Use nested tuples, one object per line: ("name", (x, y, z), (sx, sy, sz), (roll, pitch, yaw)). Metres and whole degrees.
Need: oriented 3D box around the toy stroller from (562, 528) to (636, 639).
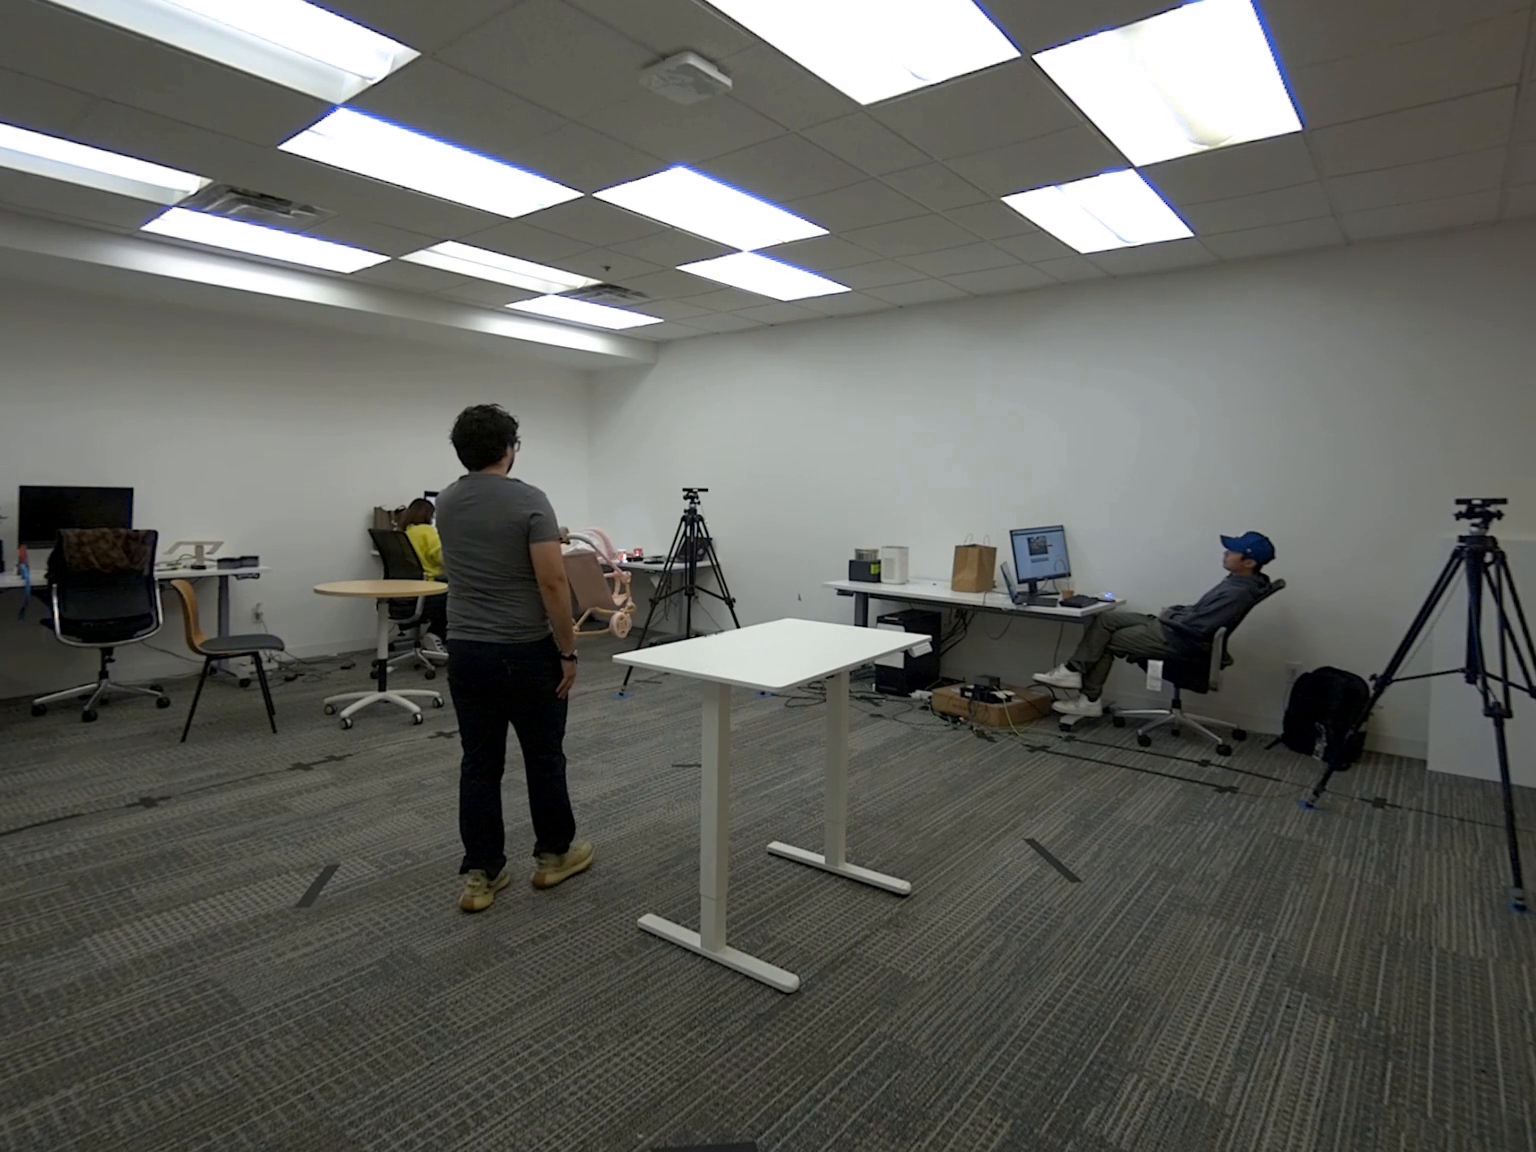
("toy stroller", (-0.733, 0.035, 3.588), (0.288, 0.527, 0.338), (-6, 14, 27))
